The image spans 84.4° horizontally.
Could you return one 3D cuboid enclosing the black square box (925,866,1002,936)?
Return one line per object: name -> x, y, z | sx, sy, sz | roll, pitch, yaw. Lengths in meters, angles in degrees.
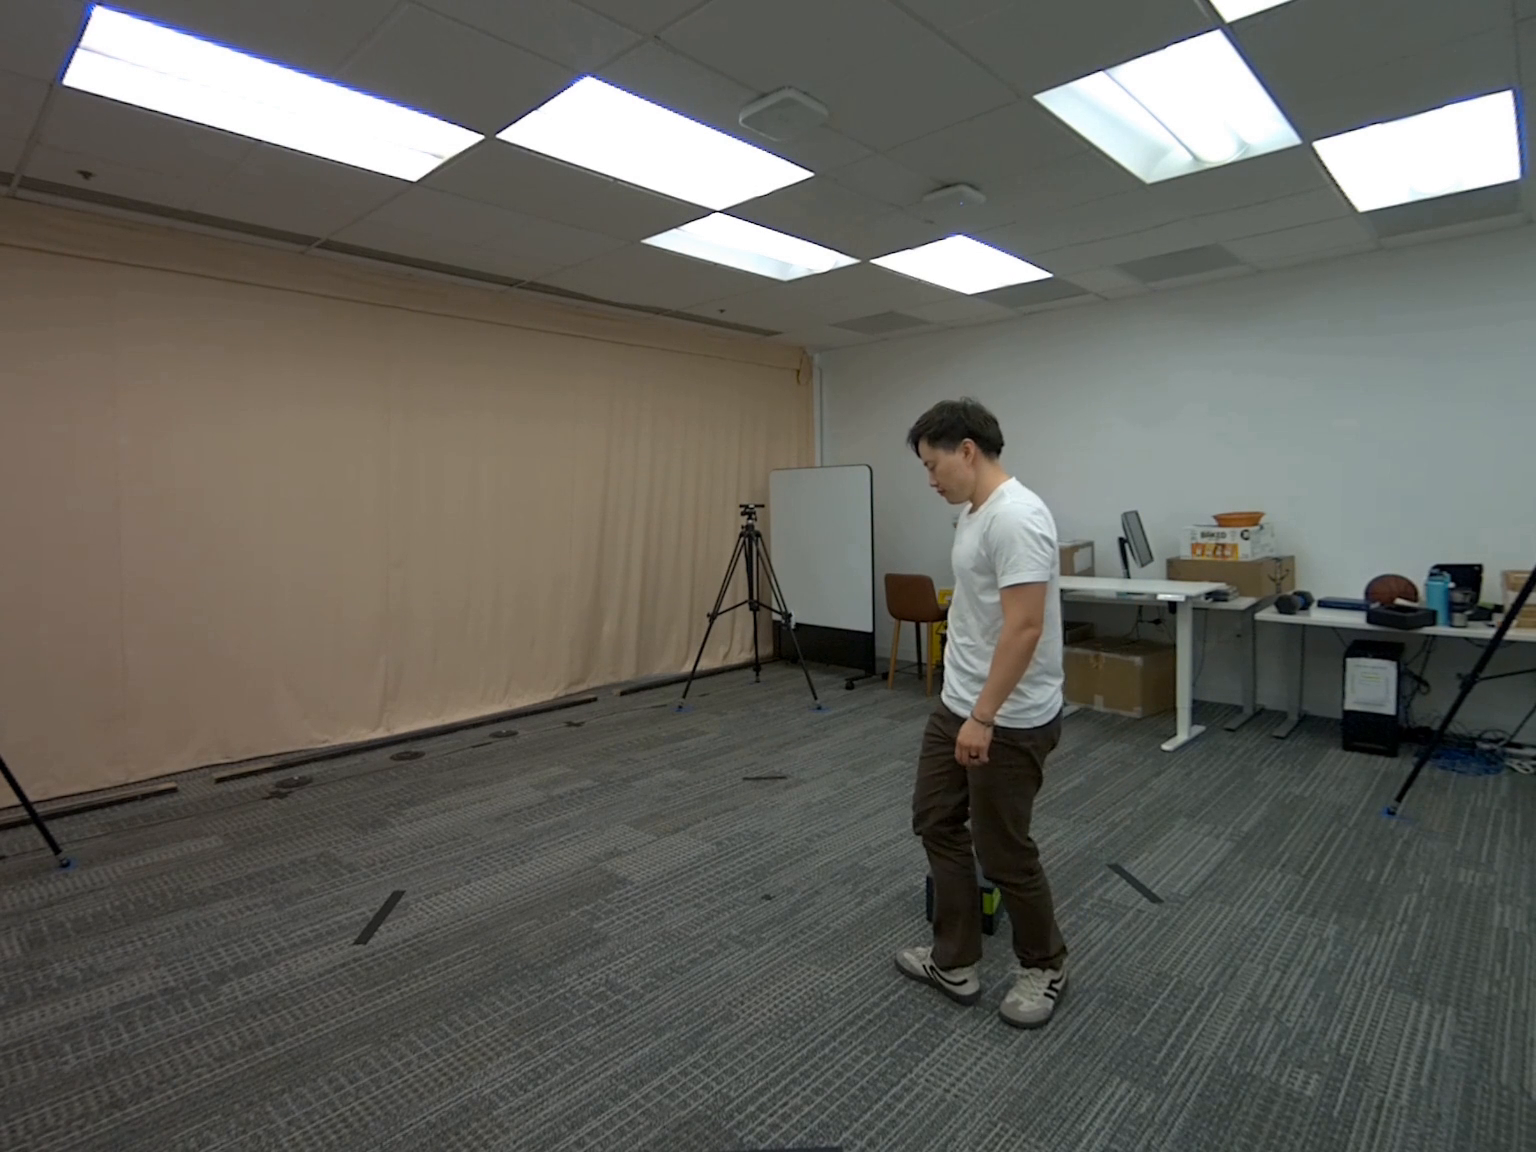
black square box -> 0.675, 1.059, 2.831 | 0.223, 0.155, 0.222 | 1, 4, 26
